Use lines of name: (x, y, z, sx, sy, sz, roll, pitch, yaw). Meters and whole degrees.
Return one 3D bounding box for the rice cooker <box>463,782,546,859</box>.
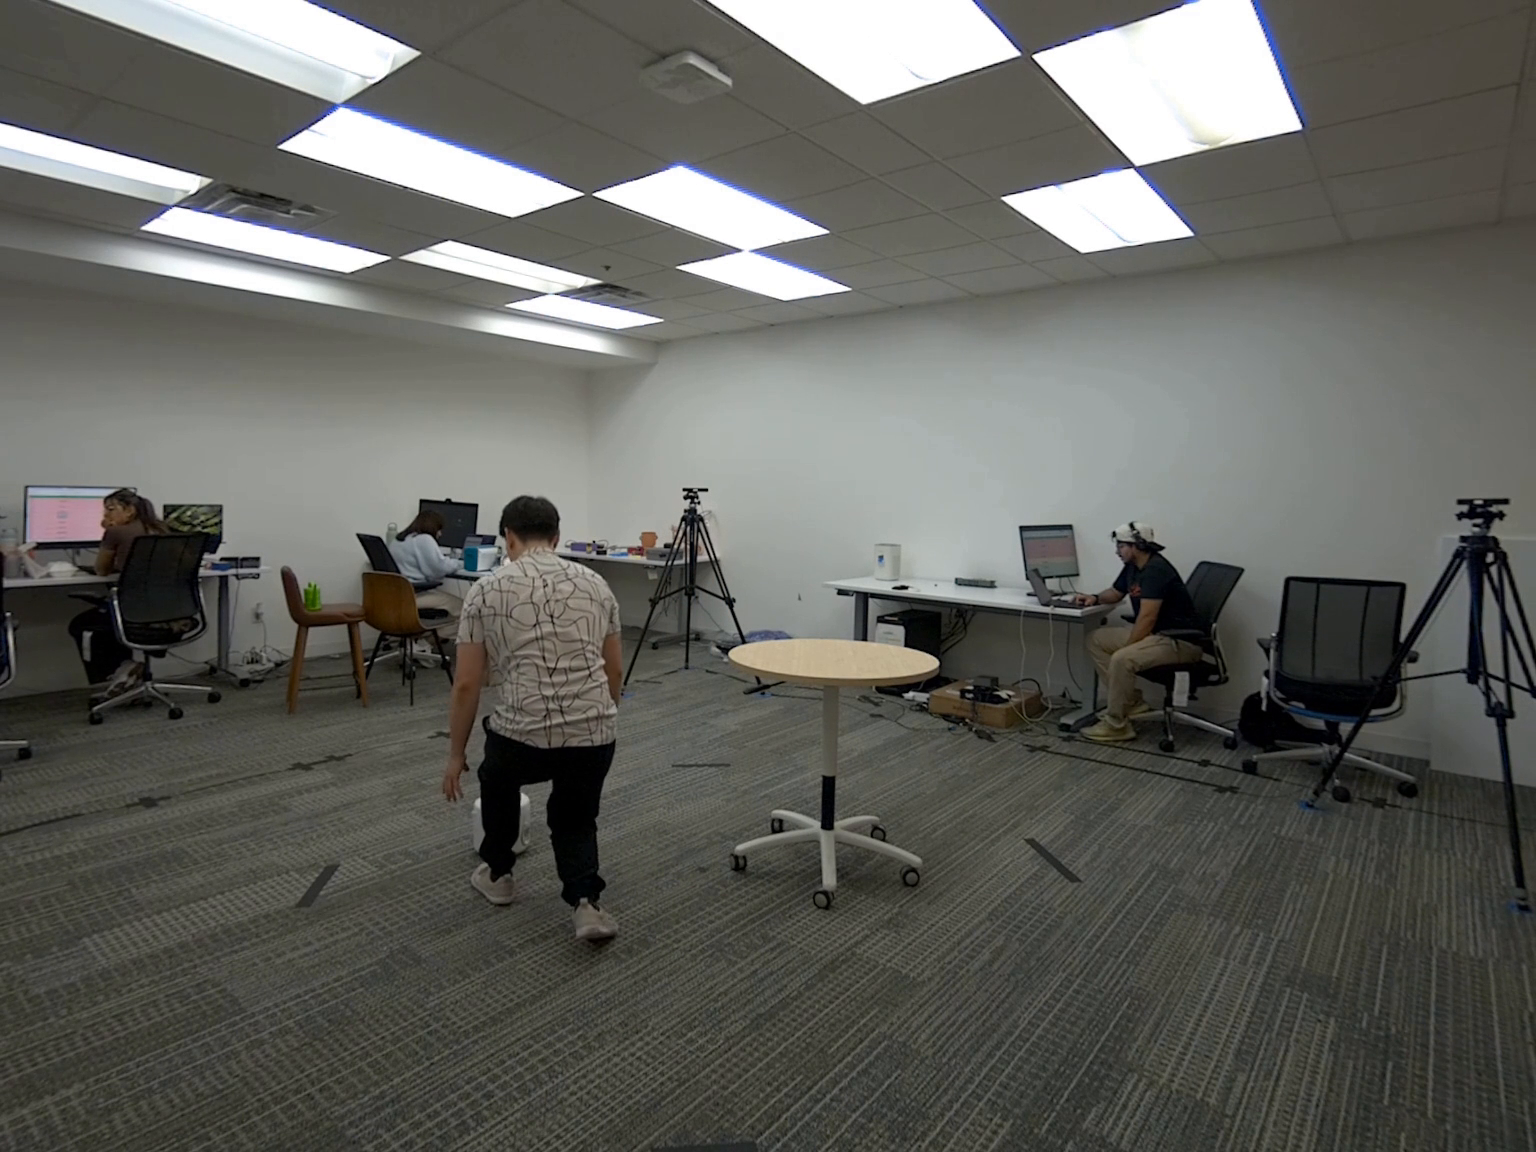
rice cooker: (-1.013, 0.921, 3.235, 0.221, 0.232, 0.217, 1, 3, 17)
